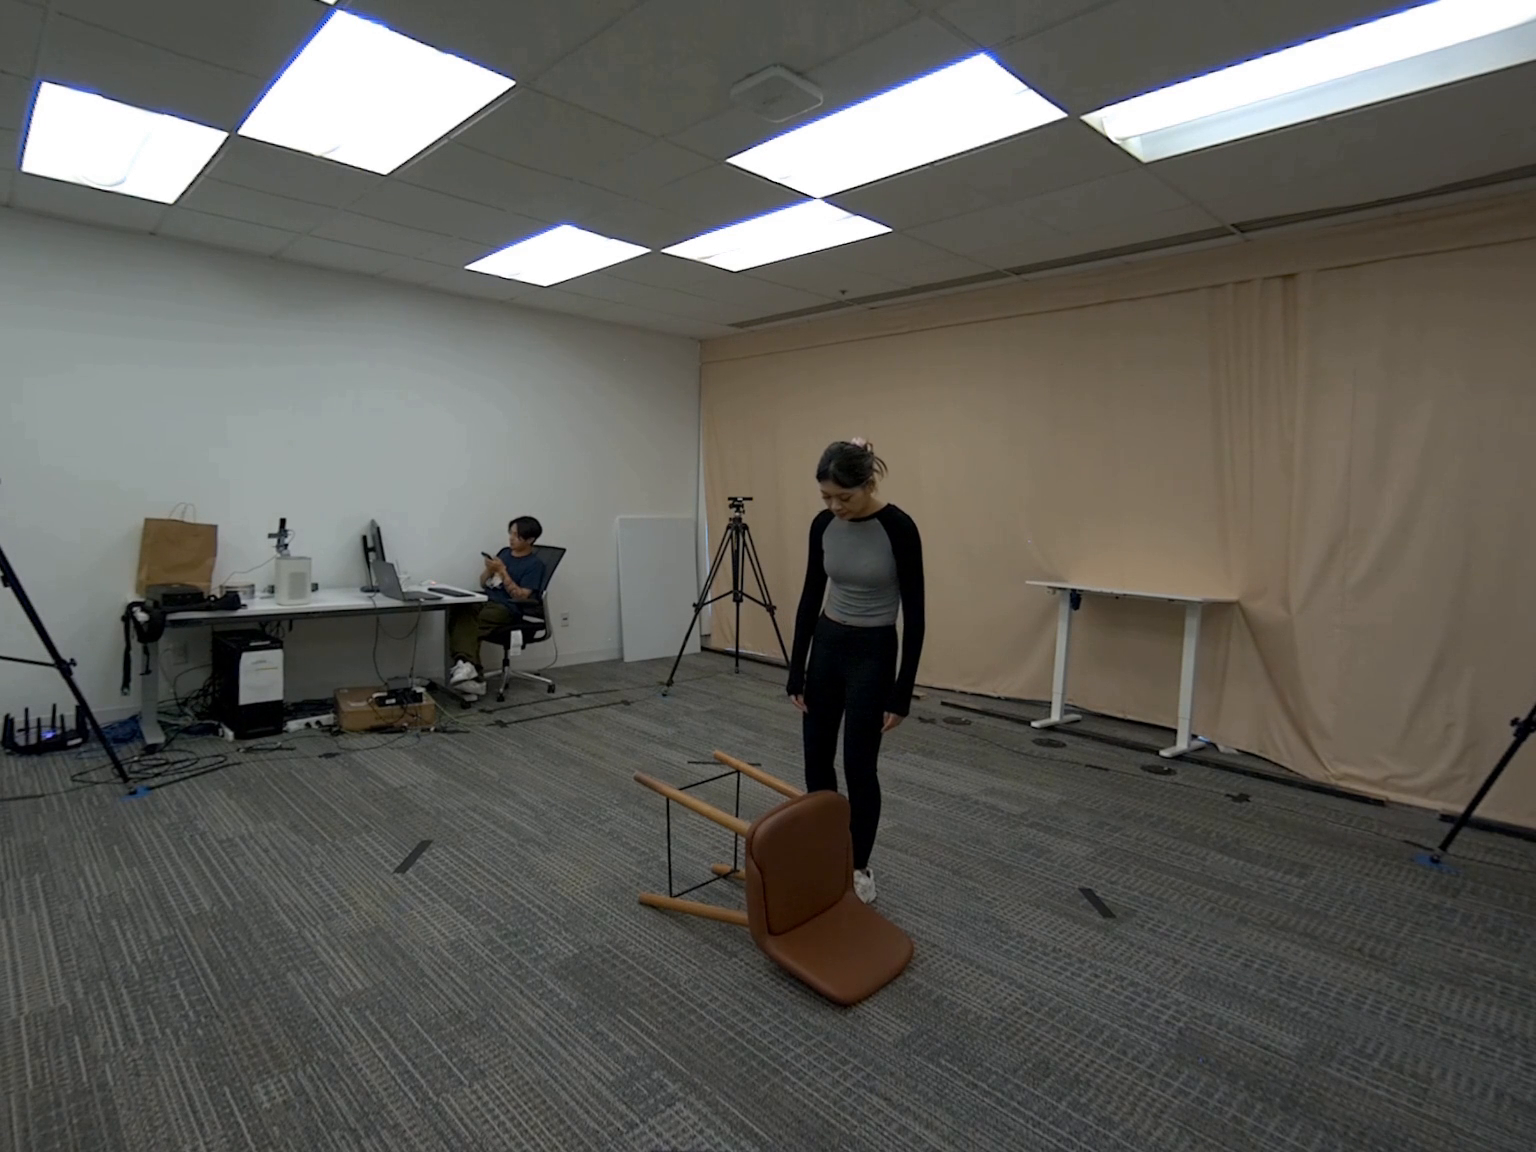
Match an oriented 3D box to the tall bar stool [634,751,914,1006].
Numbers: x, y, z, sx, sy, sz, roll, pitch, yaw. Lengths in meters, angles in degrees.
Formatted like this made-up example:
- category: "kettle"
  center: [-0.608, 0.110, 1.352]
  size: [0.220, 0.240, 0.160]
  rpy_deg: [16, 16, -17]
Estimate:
- category: "tall bar stool"
  center: [-0.007, 0.918, 2.702]
  size: [0.913, 0.466, 0.446]
  rpy_deg: [6, 6, 44]
